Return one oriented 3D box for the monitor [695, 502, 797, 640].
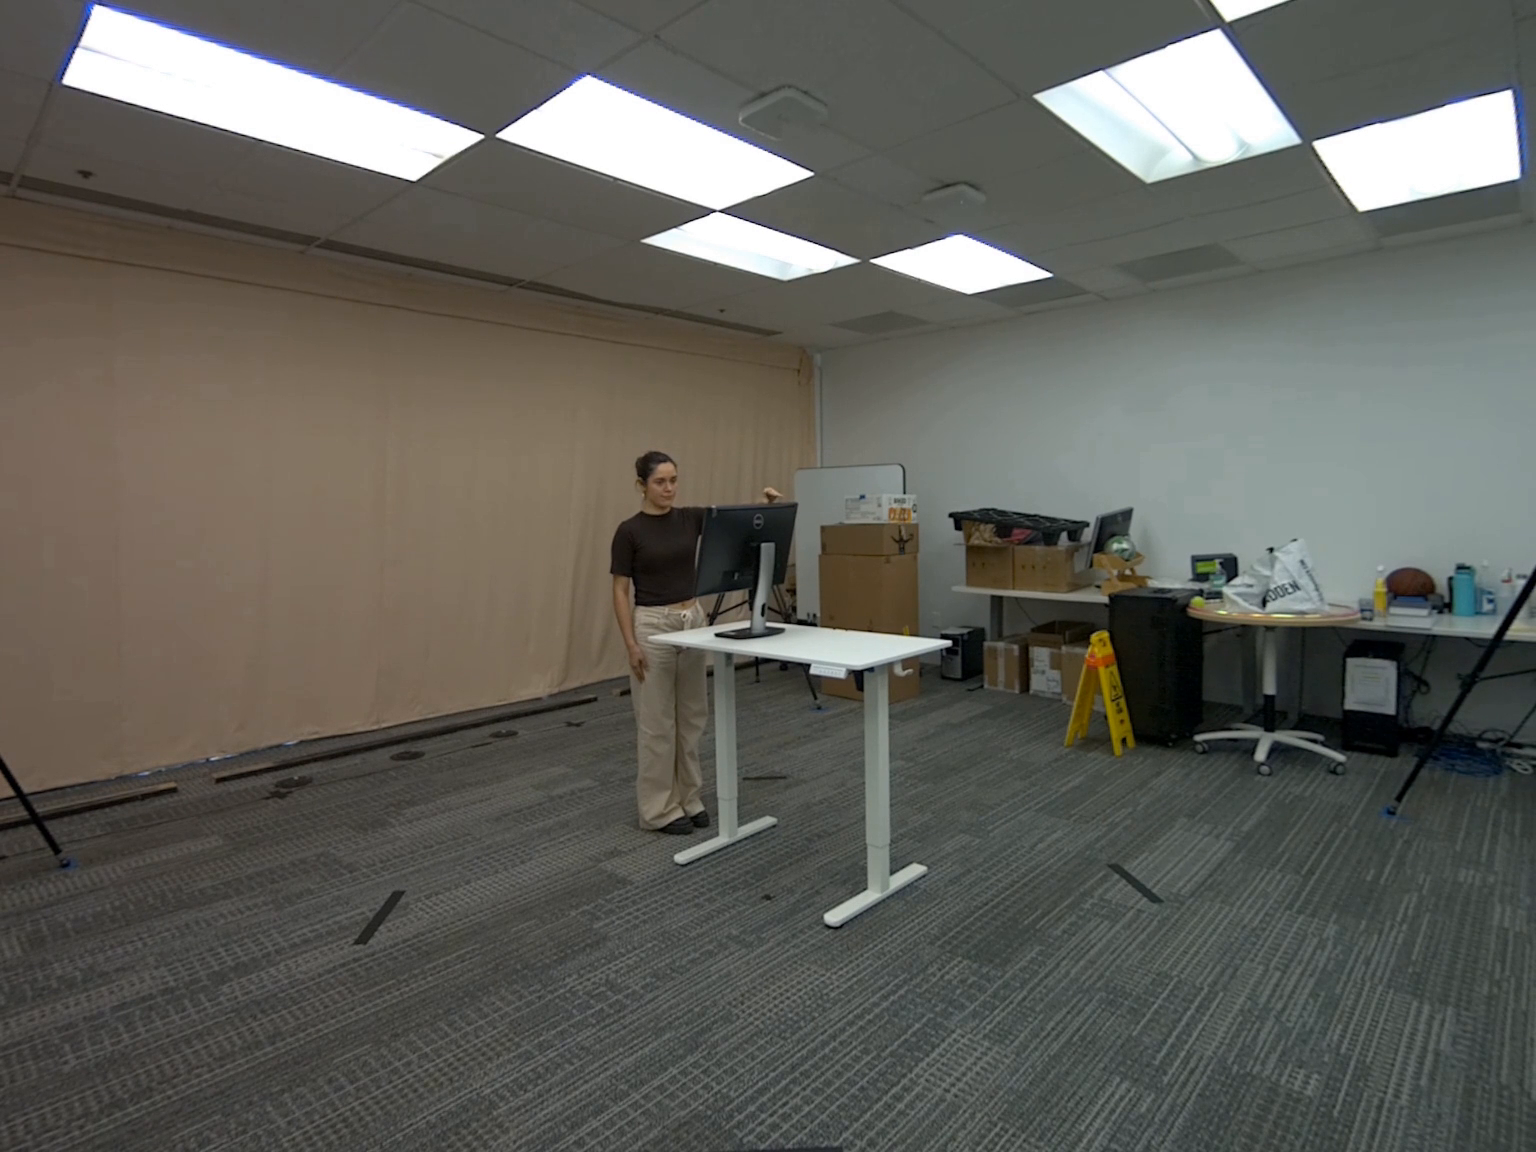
[{"bbox_3d":[-0.056,-0.019,3.307,0.193,0.521,0.523,5,7,40],"label":"monitor"}]
